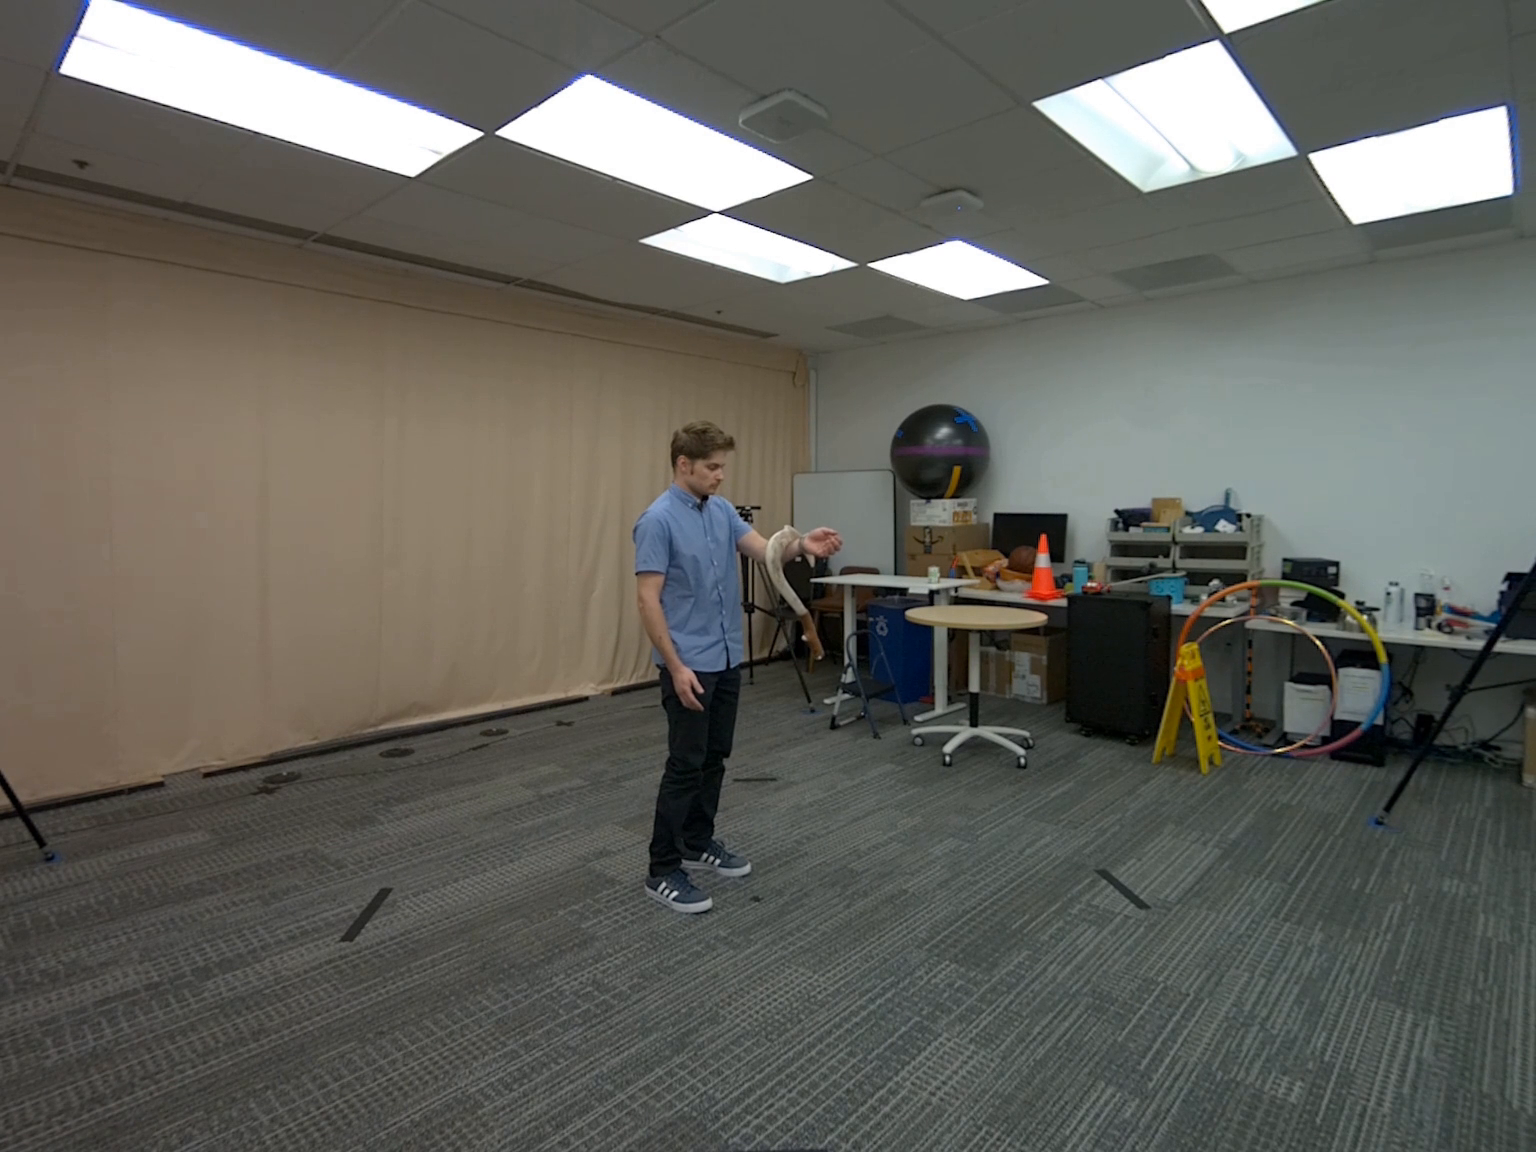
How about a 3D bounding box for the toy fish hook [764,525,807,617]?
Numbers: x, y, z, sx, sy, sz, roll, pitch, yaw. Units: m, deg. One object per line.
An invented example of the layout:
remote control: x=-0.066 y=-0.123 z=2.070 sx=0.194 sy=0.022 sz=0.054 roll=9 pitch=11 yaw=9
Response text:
toy fish hook: x=0.138 y=0.062 z=3.041 sx=0.221 sy=0.498 sz=0.050 roll=-34 pitch=21 yaw=-30
